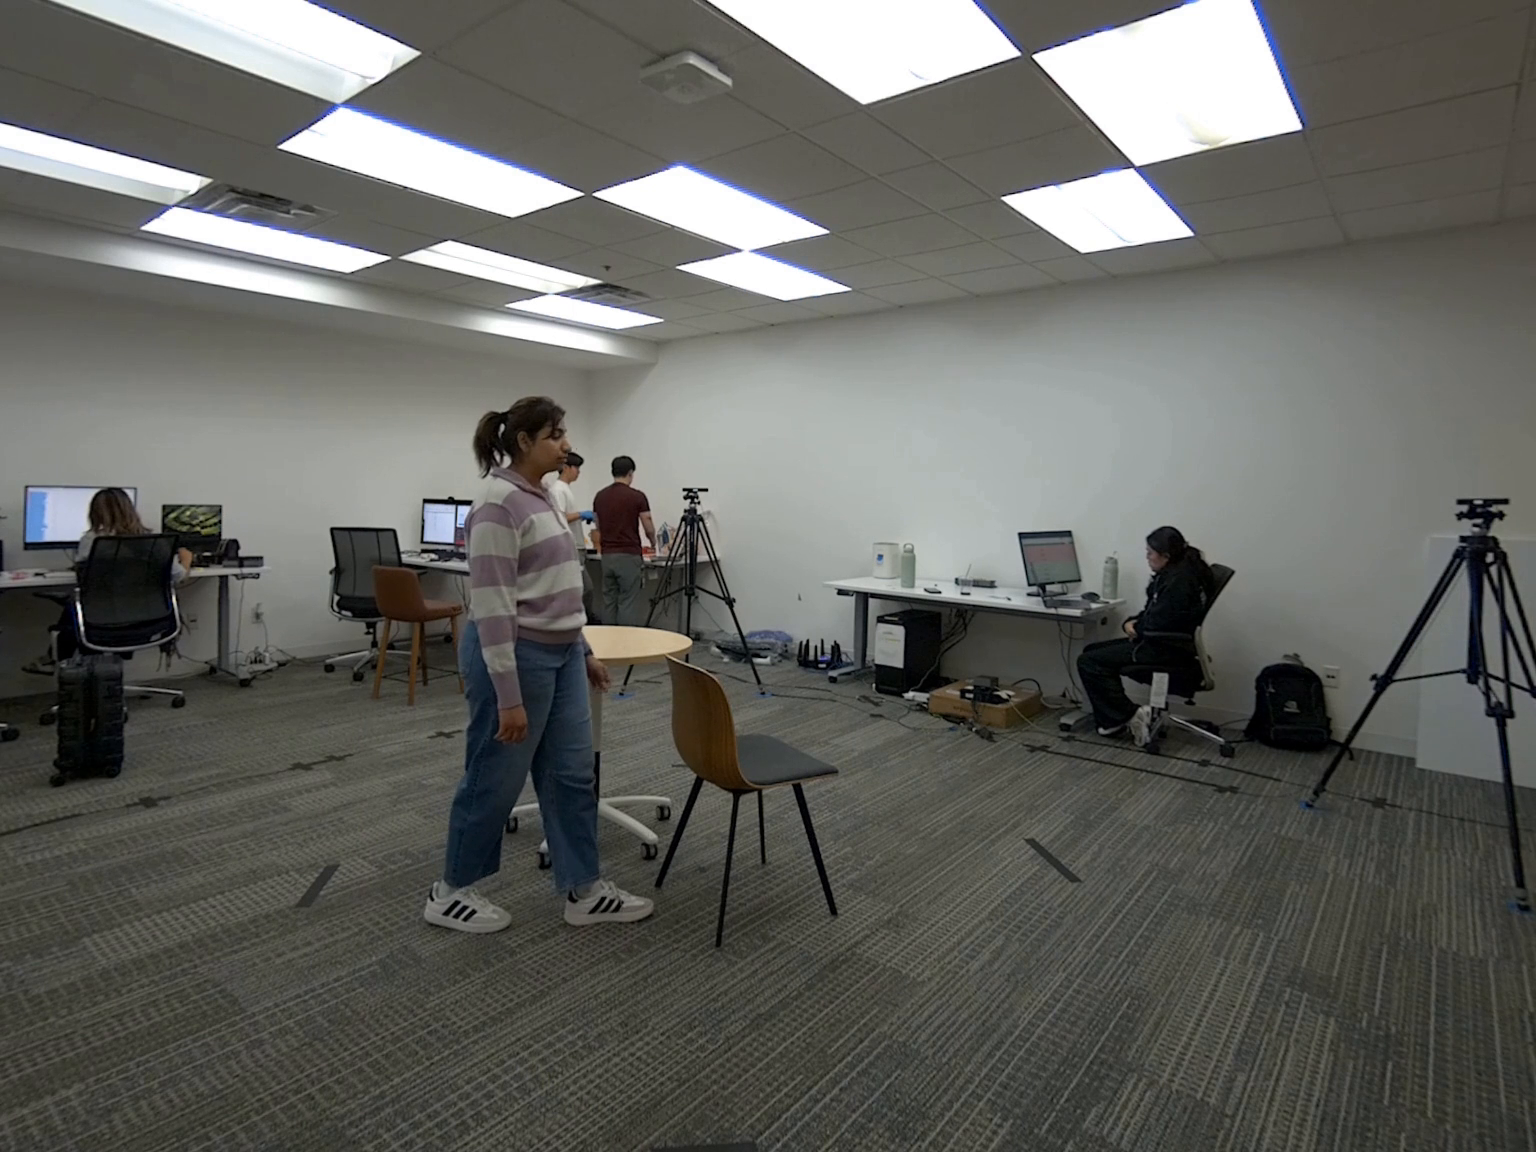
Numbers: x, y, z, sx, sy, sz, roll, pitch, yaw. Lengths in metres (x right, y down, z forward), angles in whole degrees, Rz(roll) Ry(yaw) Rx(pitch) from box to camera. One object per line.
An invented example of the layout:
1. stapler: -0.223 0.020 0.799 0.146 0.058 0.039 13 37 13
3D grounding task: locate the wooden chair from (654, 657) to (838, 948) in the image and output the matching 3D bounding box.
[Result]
1. wooden chair: -0.073 0.671 2.852 0.510 0.873 0.493 -5 6 -31
